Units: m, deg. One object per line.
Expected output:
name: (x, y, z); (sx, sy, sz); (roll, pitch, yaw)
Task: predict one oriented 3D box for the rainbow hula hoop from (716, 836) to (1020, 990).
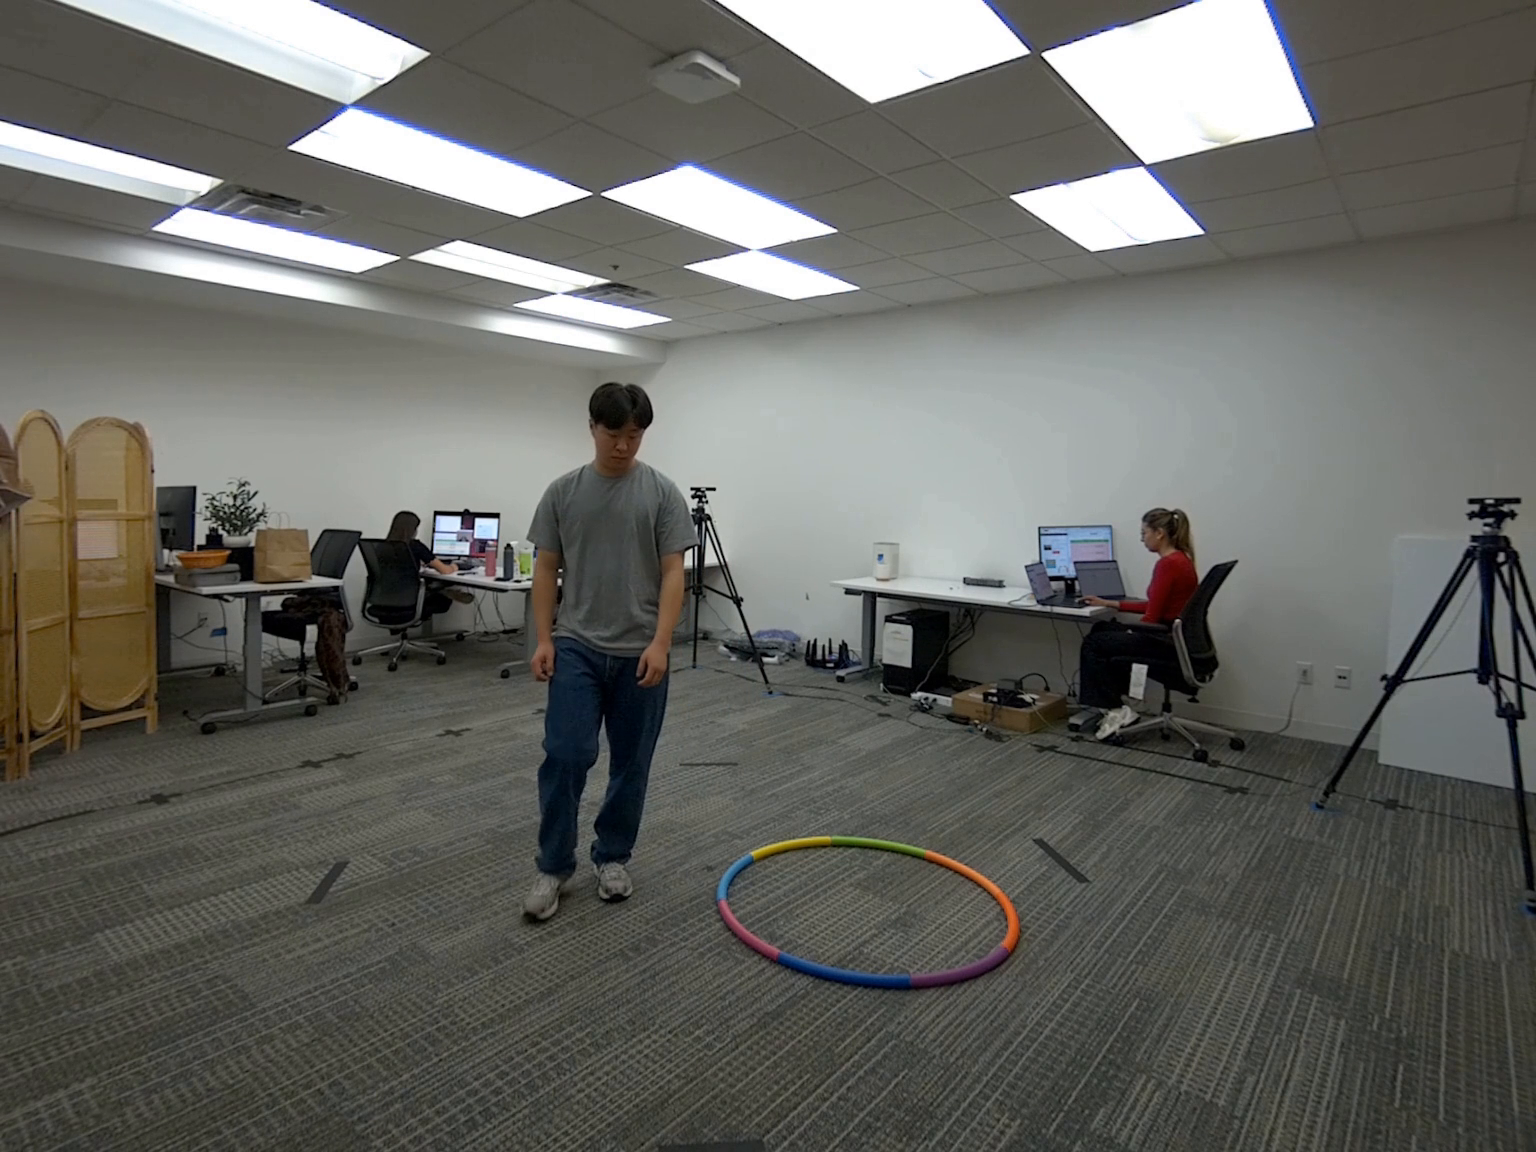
rainbow hula hoop: (0.310, 1.072, 2.860); (0.978, 0.035, 0.984); (1, 6, -2)
